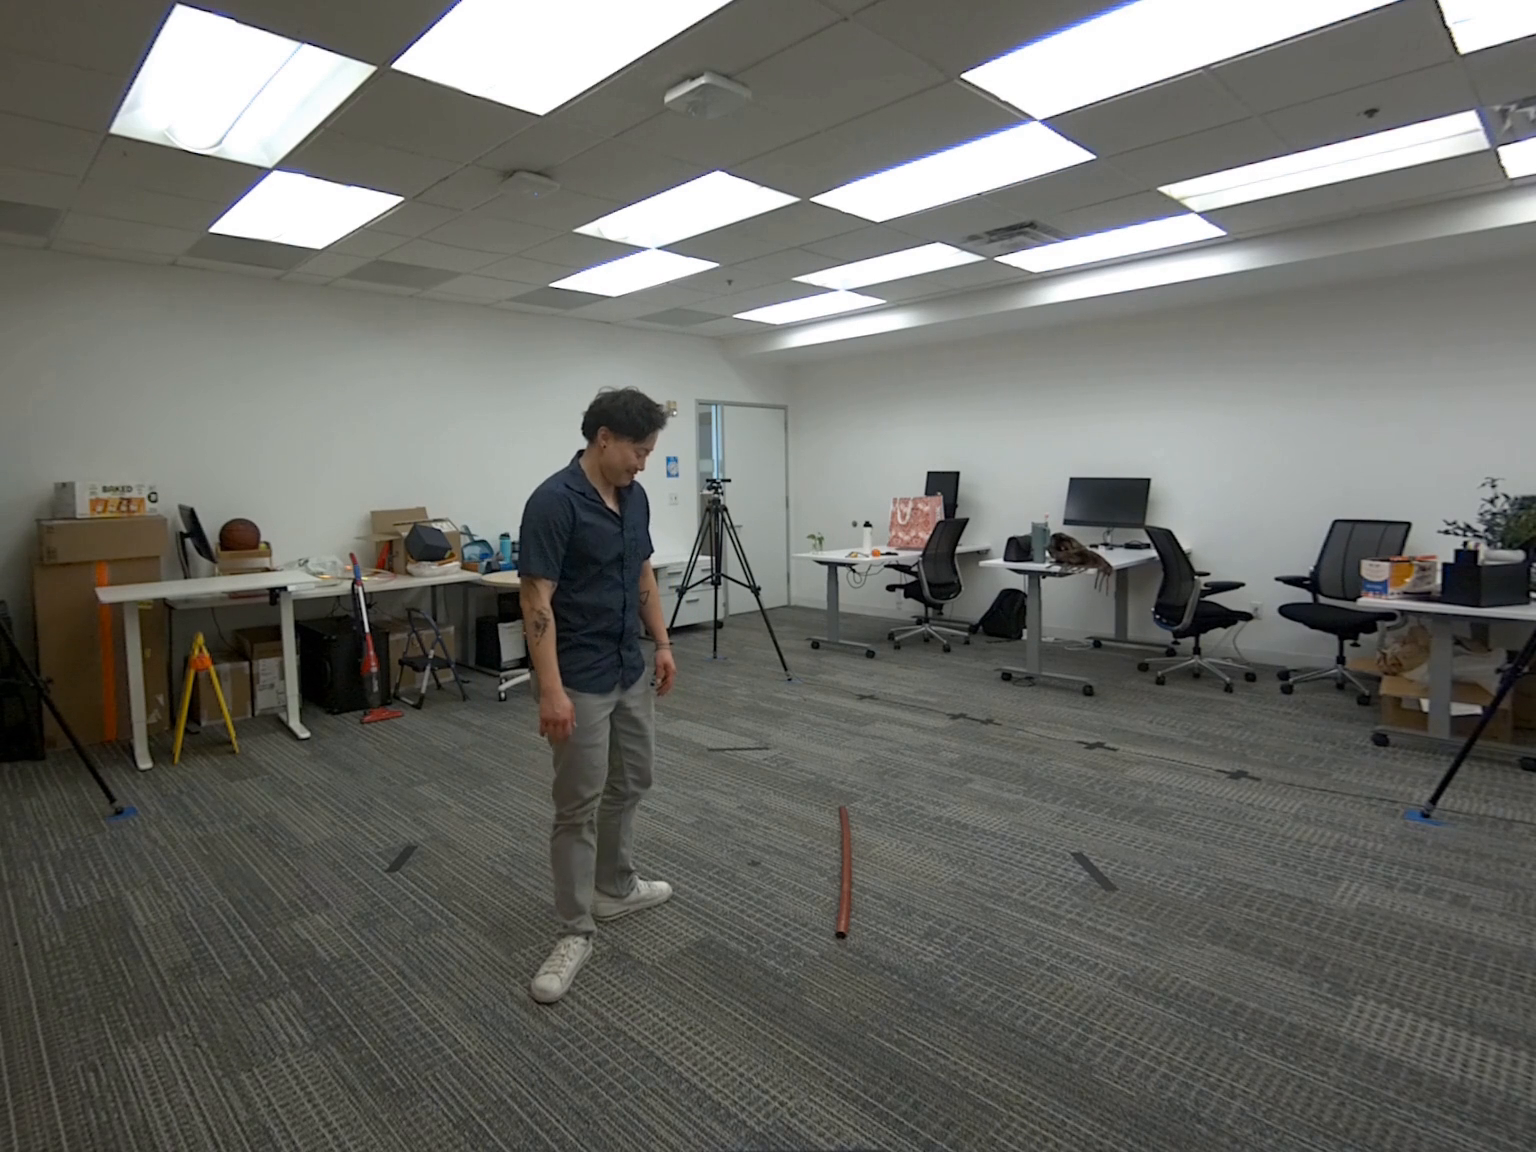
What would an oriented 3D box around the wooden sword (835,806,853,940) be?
[{"bbox_3d":[0.272,1.020,3.099,0.051,0.024,1.022,1,6,5],"label":"wooden sword"}]
